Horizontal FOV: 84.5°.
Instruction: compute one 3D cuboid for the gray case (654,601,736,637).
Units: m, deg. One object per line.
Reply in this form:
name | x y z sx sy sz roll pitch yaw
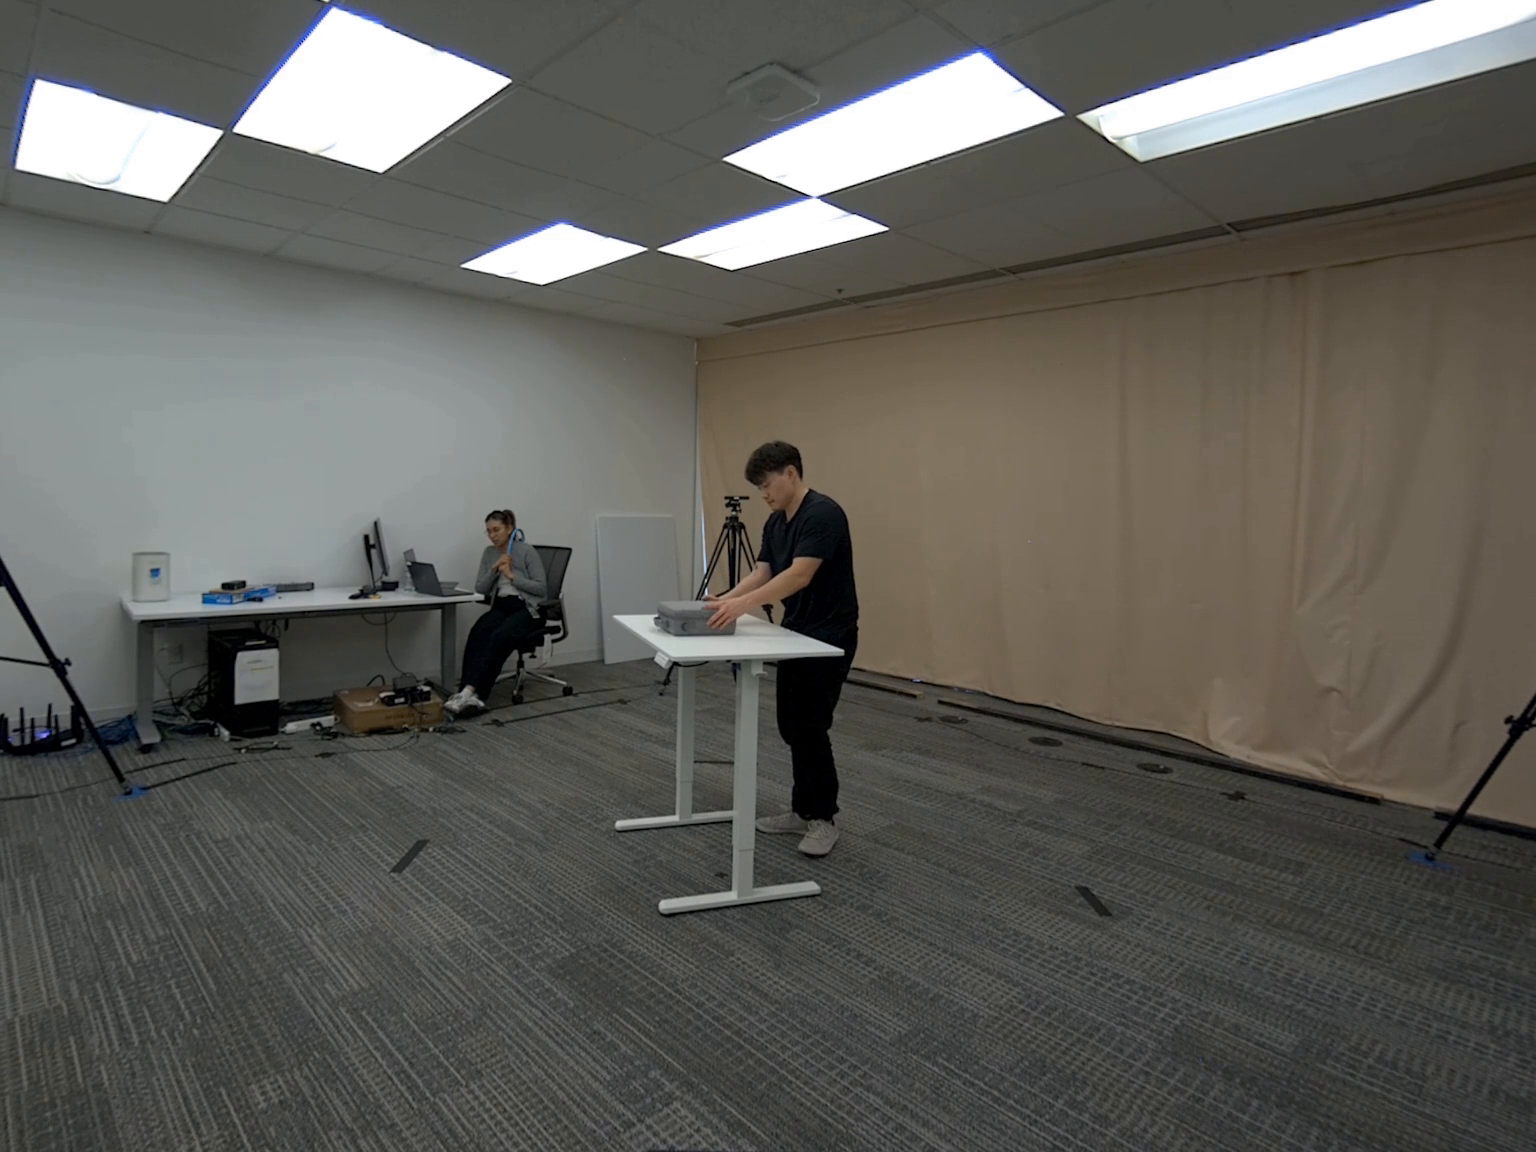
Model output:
gray case | -0.285 0.158 3.182 0.257 0.104 0.262 0 7 -19
